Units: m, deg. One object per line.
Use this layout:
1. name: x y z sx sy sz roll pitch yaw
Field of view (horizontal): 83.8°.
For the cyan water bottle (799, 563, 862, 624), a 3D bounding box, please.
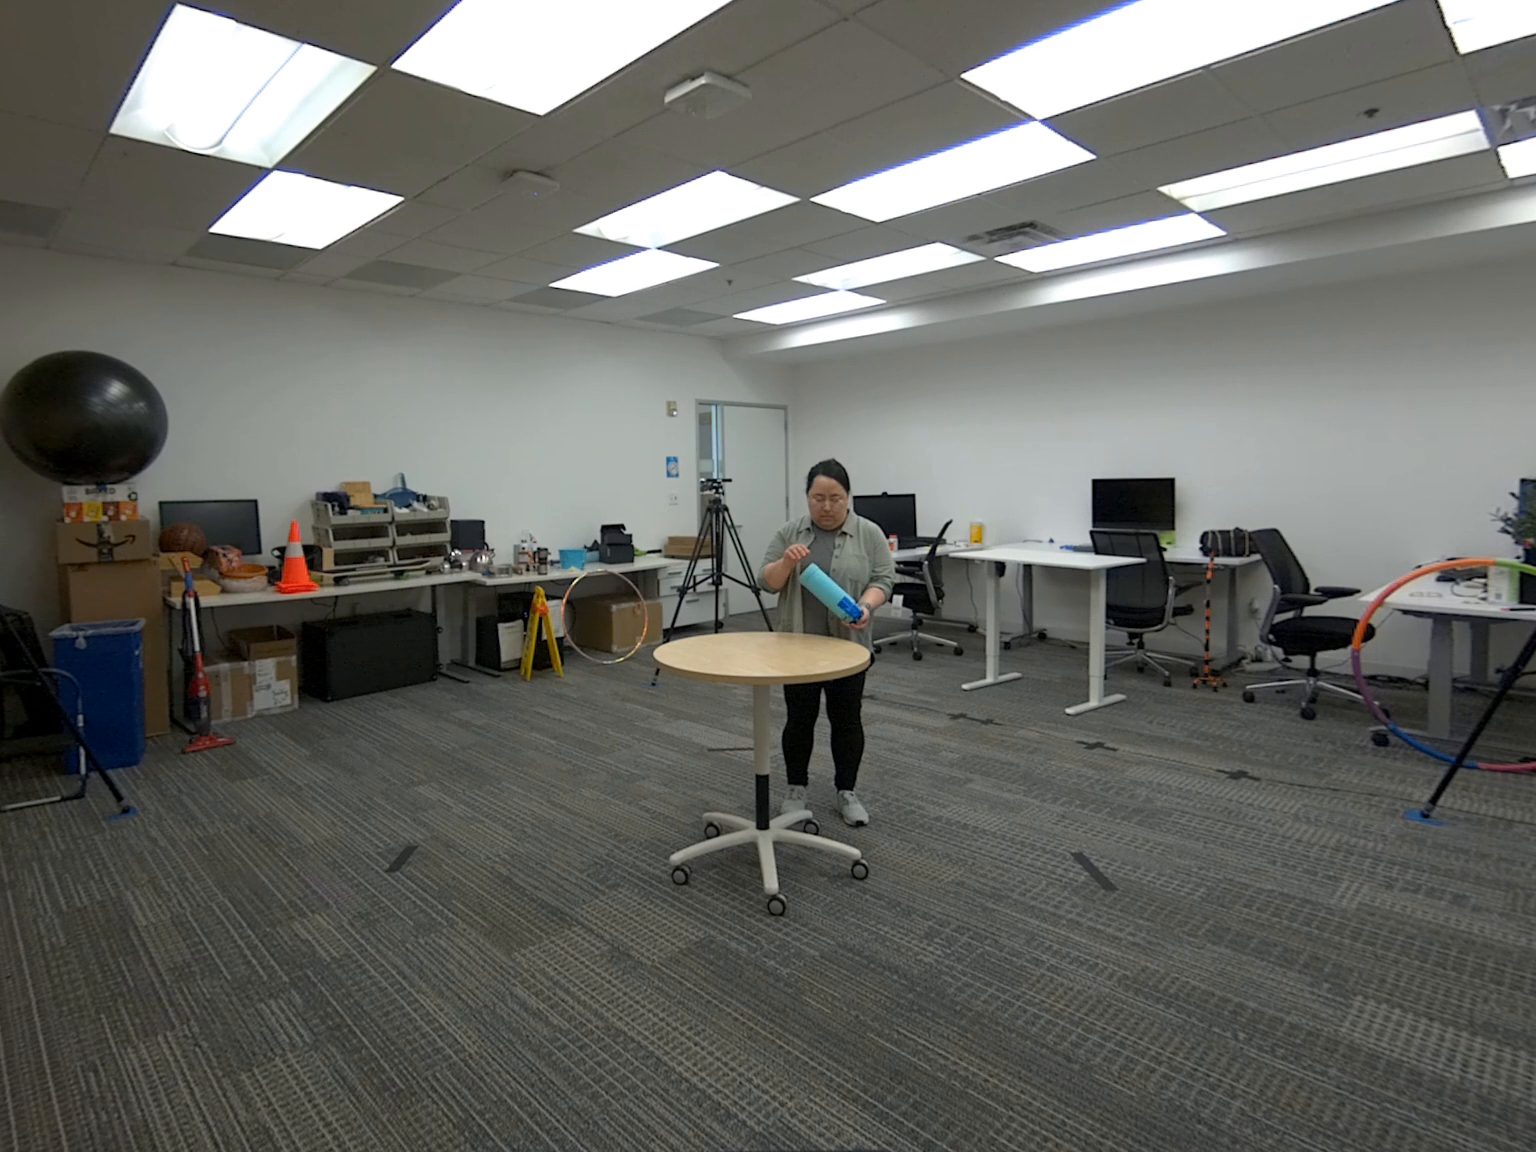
1. cyan water bottle: 0.254 0.082 3.264 0.288 0.092 0.091 43 17 13
